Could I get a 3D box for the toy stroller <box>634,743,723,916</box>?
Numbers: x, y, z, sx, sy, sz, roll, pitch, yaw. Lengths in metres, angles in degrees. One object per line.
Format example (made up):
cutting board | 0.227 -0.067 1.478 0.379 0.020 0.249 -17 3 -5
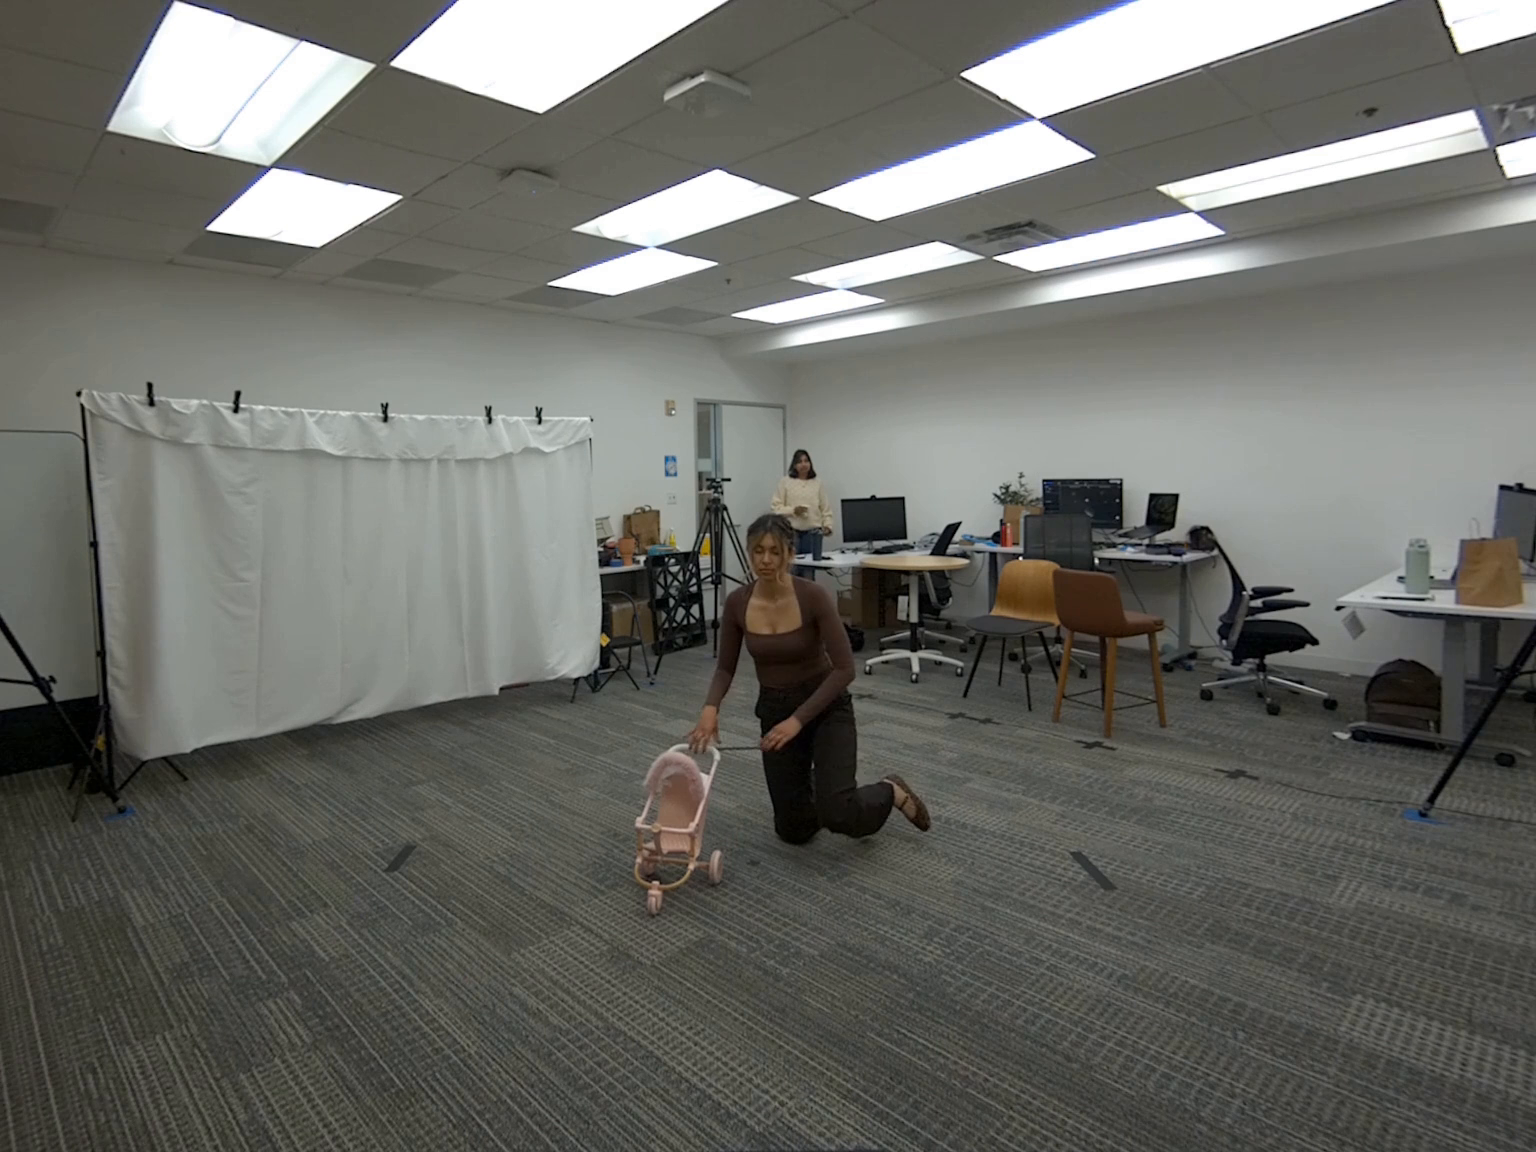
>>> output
toy stroller | -0.317 0.844 2.922 0.287 0.540 0.331 0 -12 20
